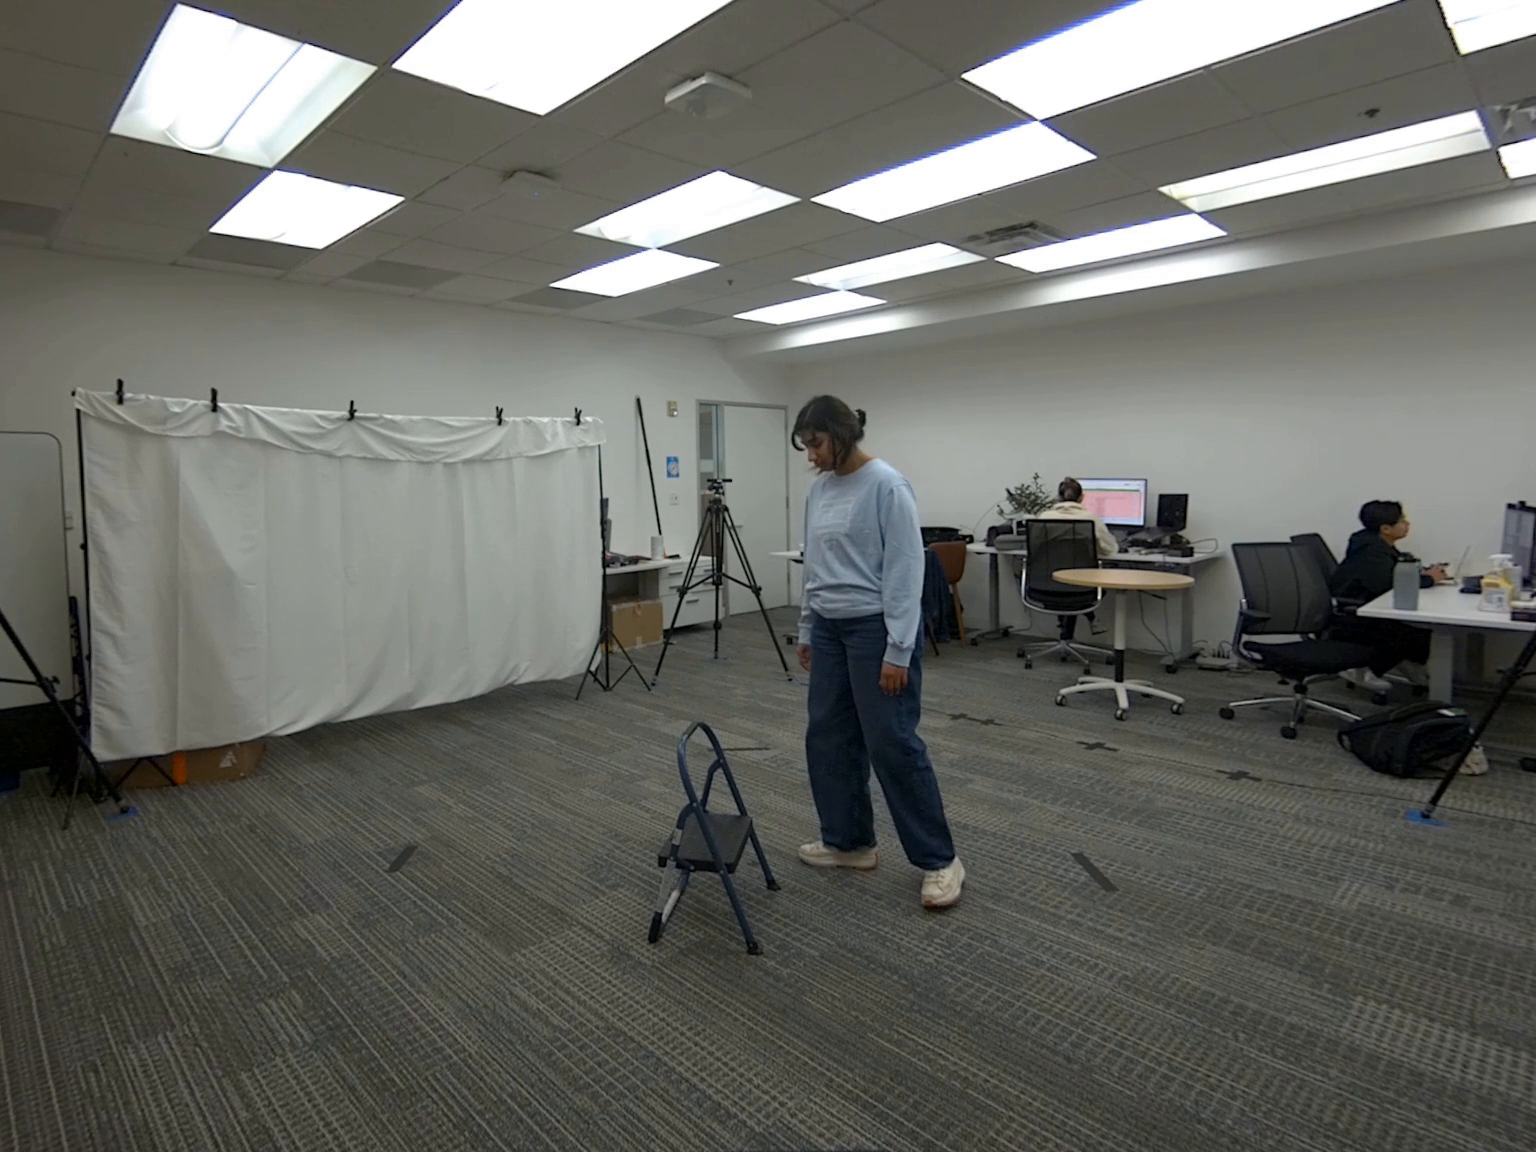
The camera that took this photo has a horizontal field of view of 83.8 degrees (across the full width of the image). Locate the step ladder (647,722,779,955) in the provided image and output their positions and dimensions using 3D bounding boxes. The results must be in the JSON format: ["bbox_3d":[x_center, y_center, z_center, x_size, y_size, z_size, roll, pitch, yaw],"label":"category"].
[{"bbox_3d":[-0.168,0.788,2.727,0.353,0.603,0.428,0,5,10],"label":"step ladder"}]
